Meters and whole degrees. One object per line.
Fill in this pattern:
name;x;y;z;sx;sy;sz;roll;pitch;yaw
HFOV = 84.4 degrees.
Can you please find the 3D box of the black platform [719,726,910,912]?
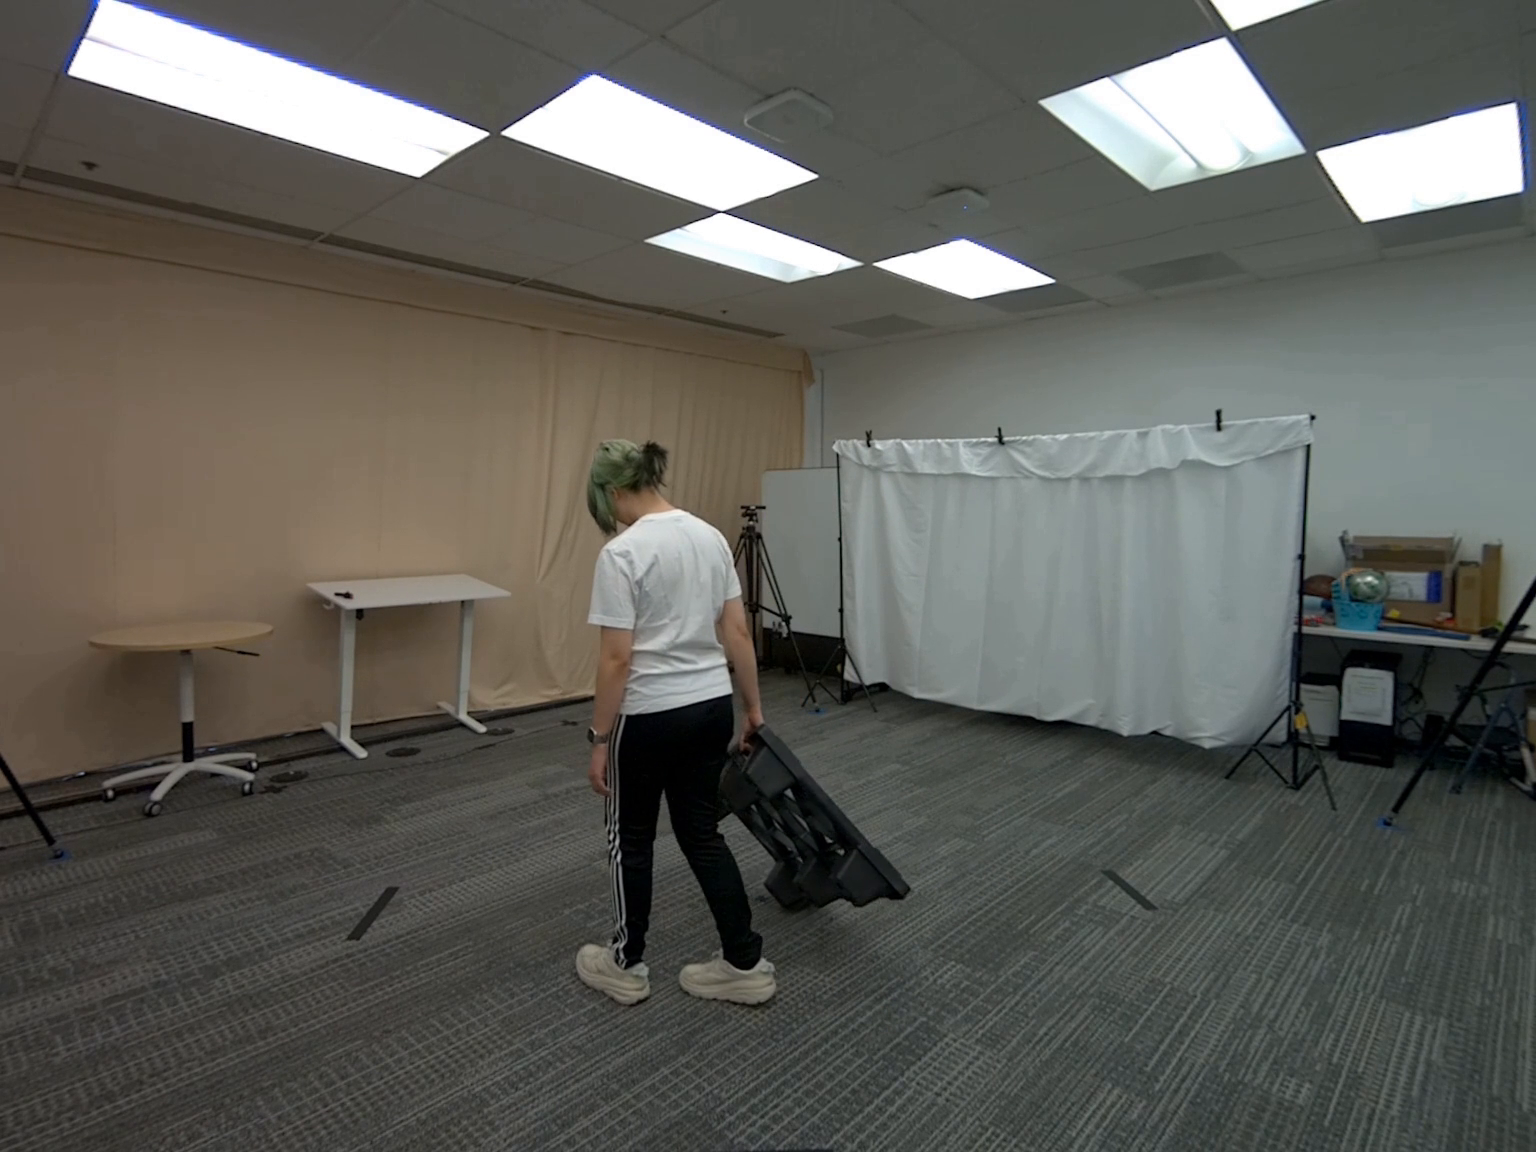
black platform;0.043;0.812;2.647;0.142;0.611;0.807;-37;-8;-25
